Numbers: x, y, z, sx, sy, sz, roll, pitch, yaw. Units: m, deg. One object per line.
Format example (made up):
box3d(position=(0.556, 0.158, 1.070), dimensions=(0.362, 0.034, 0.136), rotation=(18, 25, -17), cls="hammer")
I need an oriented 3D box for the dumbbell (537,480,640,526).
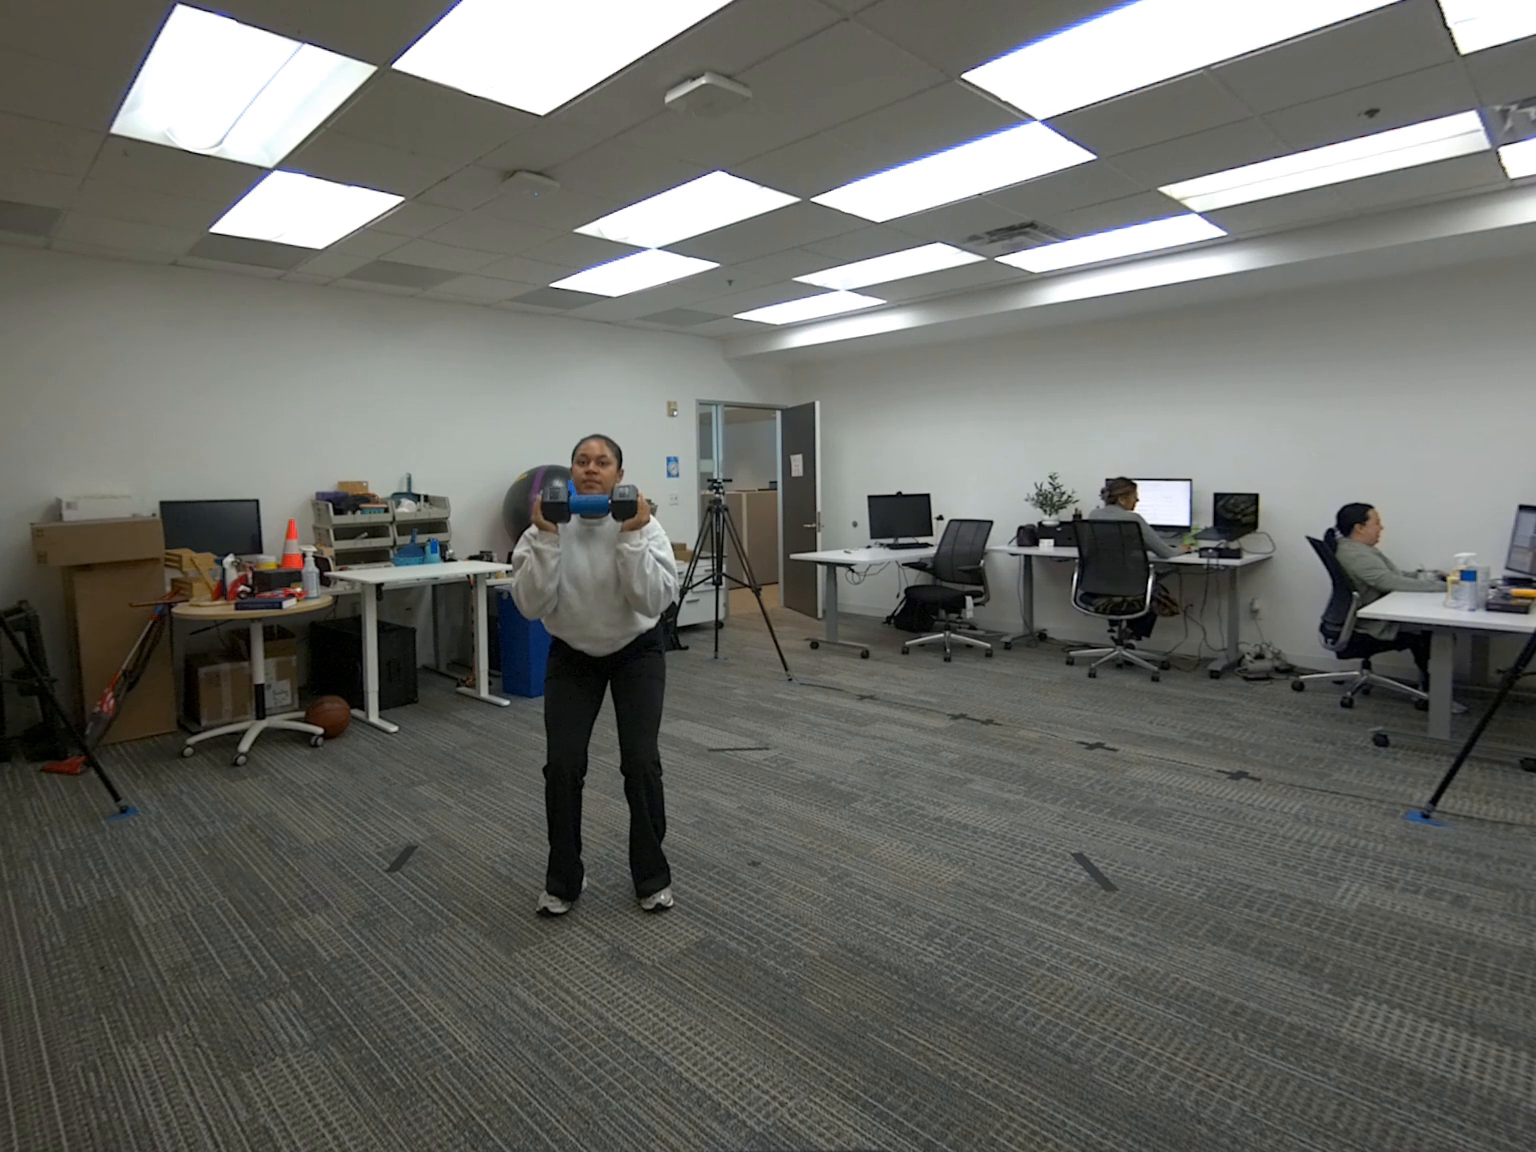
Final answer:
box3d(position=(-0.552, -0.205, 2.639), dimensions=(0.293, 0.126, 0.106), rotation=(-2, -39, -1), cls="dumbbell")
